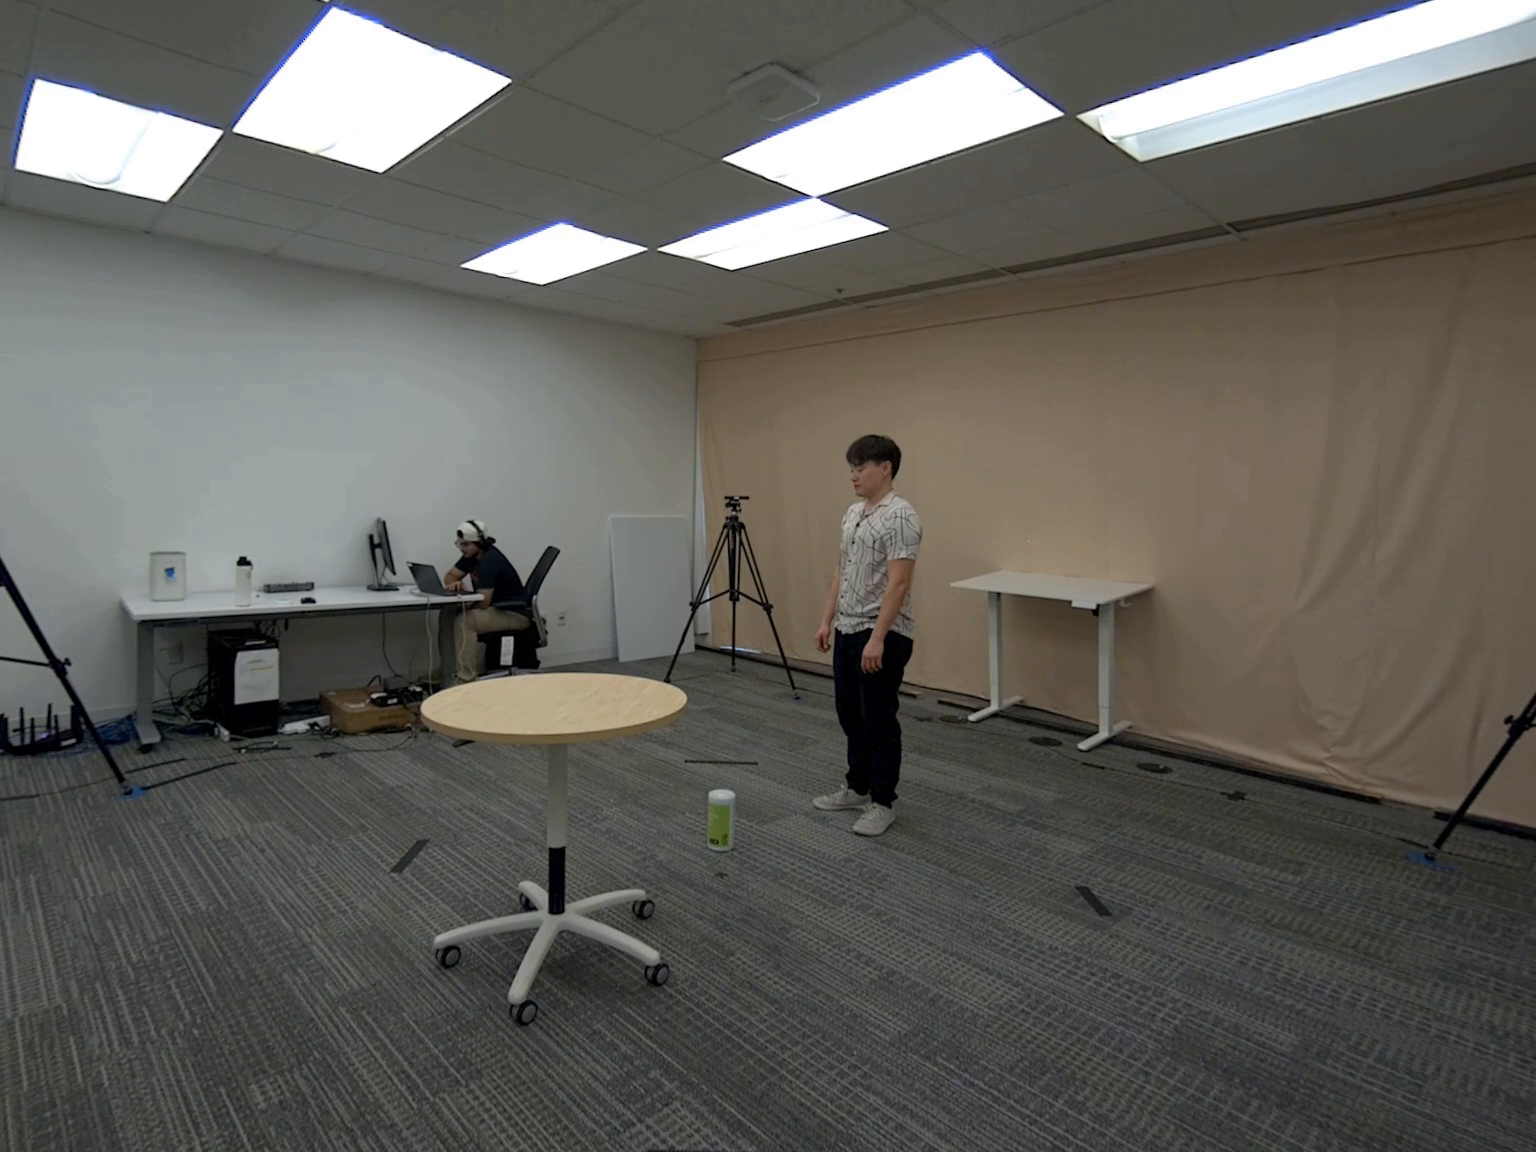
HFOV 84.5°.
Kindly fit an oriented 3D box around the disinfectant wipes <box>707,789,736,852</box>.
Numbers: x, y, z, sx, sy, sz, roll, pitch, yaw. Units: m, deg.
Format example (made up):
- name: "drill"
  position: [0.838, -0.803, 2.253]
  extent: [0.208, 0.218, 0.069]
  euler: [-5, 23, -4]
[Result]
- name: "disinfectant wipes"
  position: [-0.194, 0.973, 3.359]
  extent: [0.118, 0.217, 0.118]
  euler: [2, 5, -2]
